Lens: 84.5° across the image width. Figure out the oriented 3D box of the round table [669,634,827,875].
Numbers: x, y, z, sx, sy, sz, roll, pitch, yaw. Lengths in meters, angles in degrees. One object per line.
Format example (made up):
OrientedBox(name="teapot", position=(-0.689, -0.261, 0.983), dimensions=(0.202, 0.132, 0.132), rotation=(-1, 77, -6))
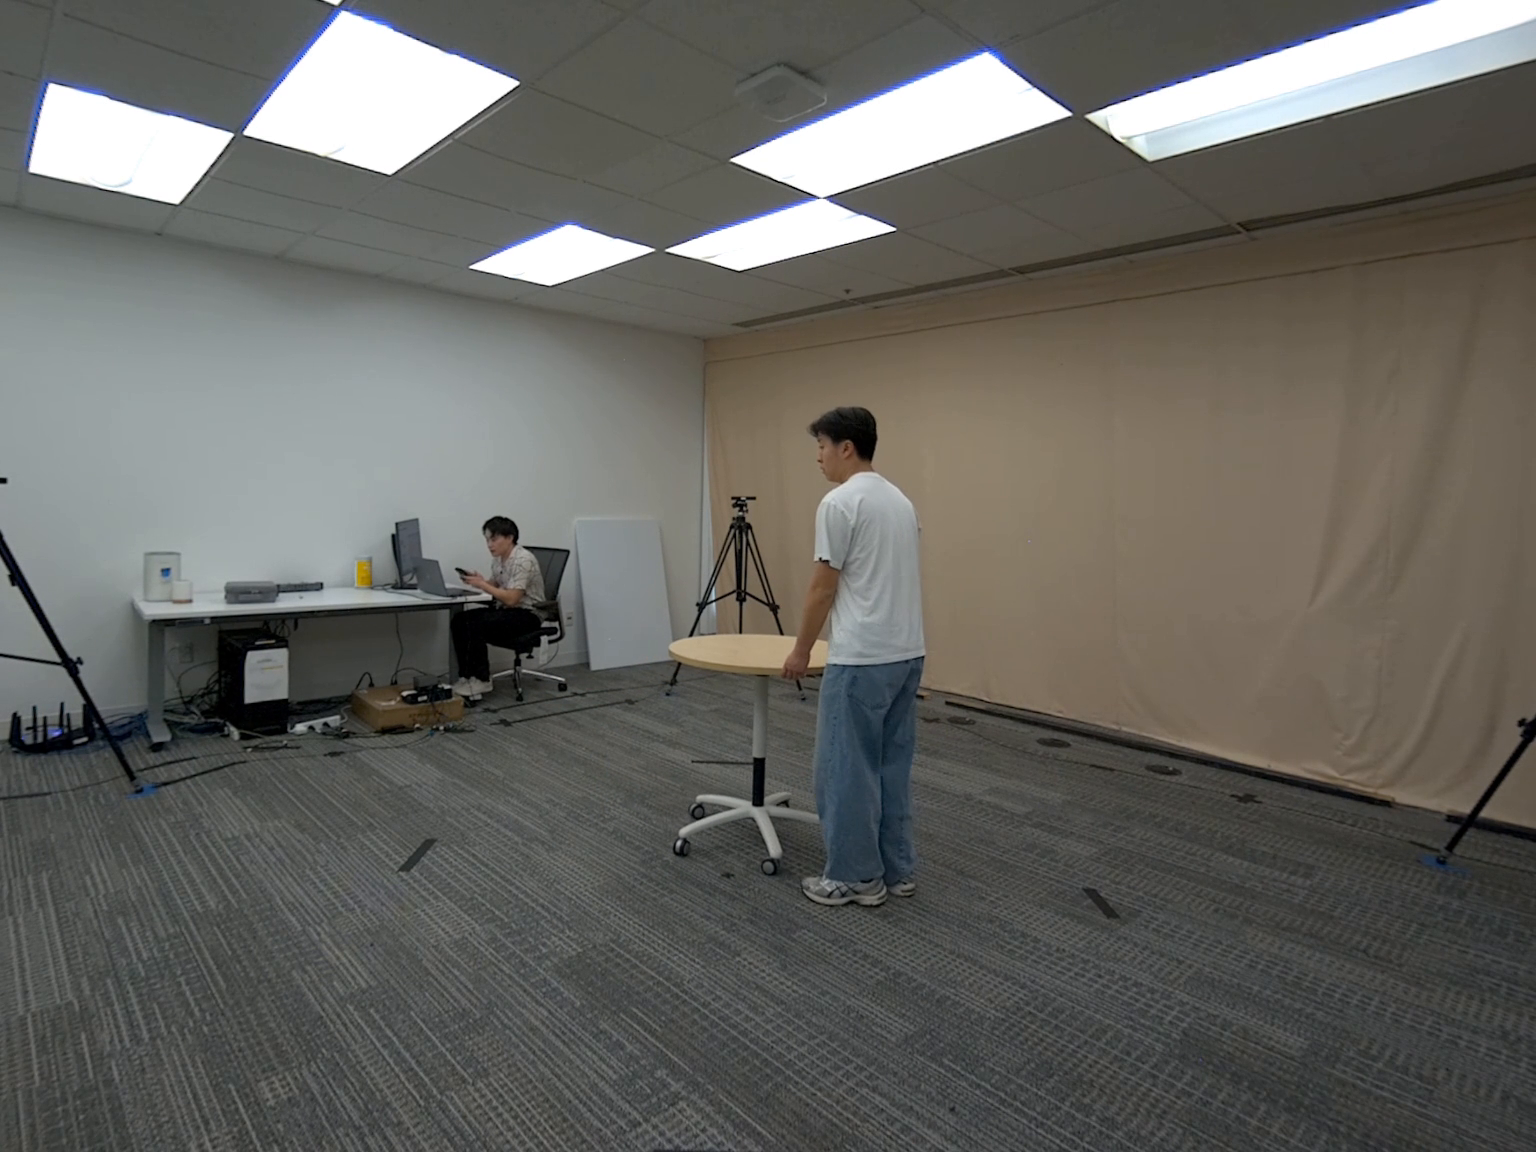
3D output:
OrientedBox(name="round table", position=(-0.047, 0.690, 3.429), dimensions=(0.763, 0.792, 0.766), rotation=(2, 3, -1))
